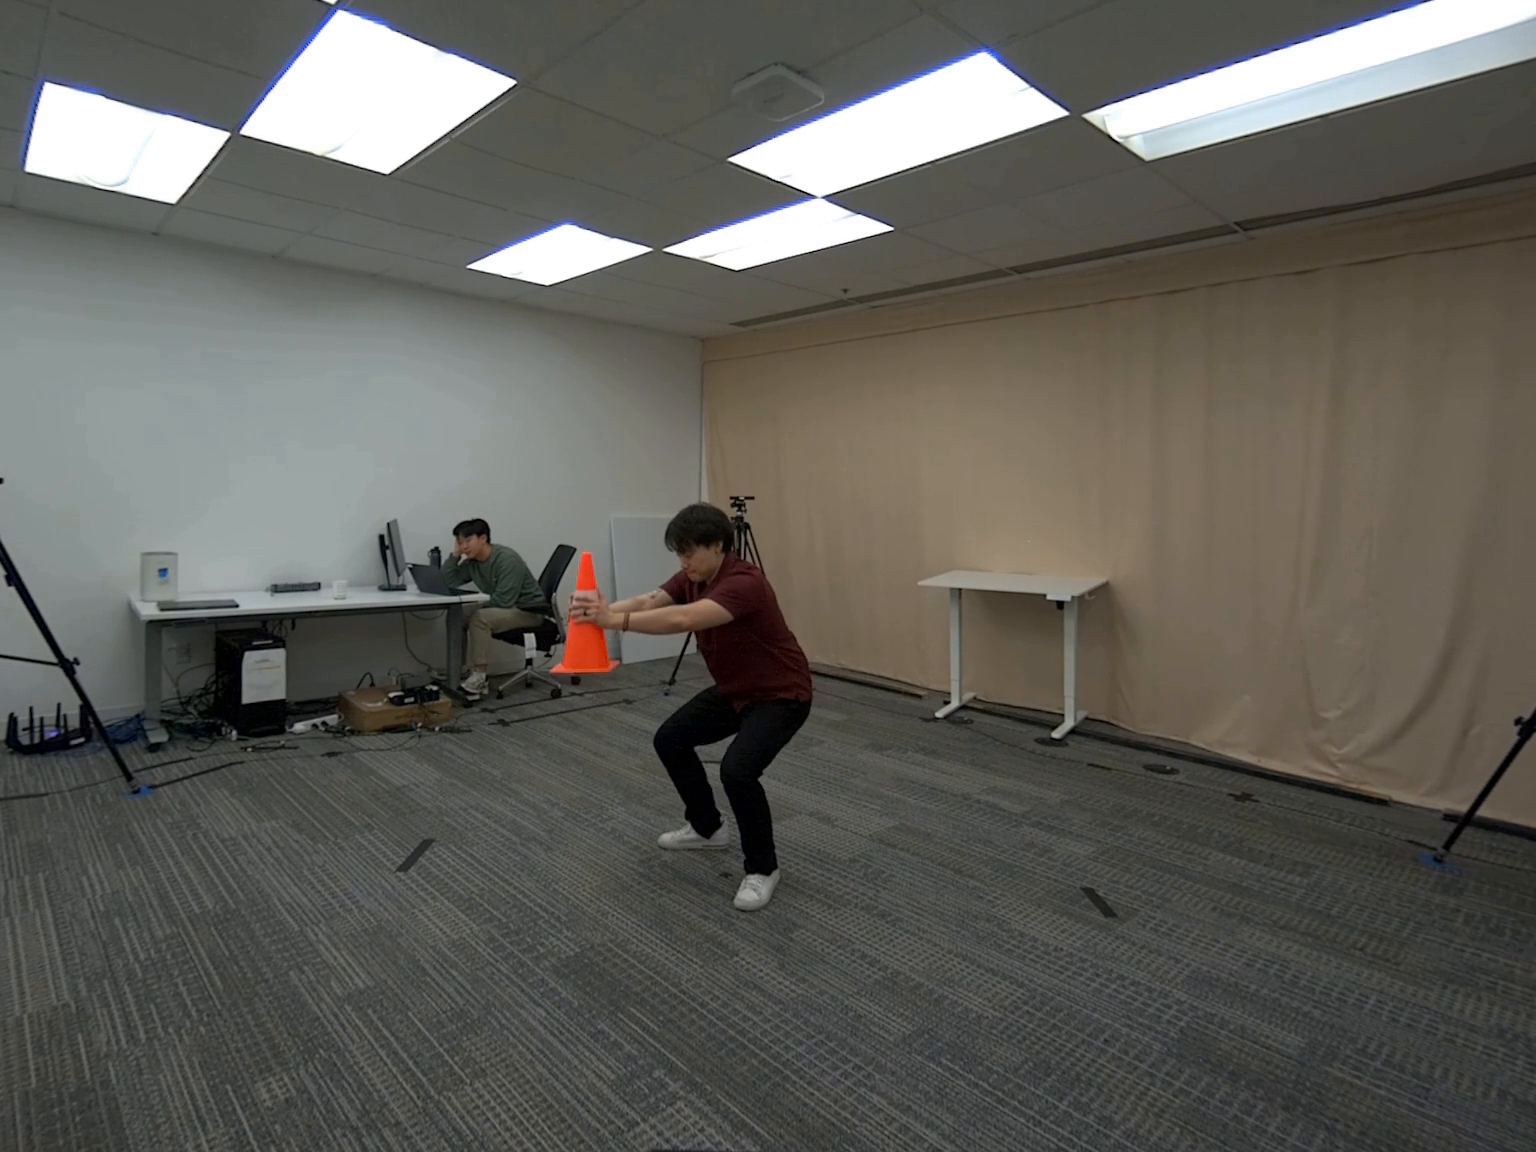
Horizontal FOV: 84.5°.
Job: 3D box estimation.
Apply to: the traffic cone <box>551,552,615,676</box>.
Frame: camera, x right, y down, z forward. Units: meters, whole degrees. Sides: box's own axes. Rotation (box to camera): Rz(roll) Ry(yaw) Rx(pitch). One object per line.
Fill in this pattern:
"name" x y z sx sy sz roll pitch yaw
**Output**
"traffic cone" -0.618 0.114 2.798 0.208 0.383 0.200 1 1 36
